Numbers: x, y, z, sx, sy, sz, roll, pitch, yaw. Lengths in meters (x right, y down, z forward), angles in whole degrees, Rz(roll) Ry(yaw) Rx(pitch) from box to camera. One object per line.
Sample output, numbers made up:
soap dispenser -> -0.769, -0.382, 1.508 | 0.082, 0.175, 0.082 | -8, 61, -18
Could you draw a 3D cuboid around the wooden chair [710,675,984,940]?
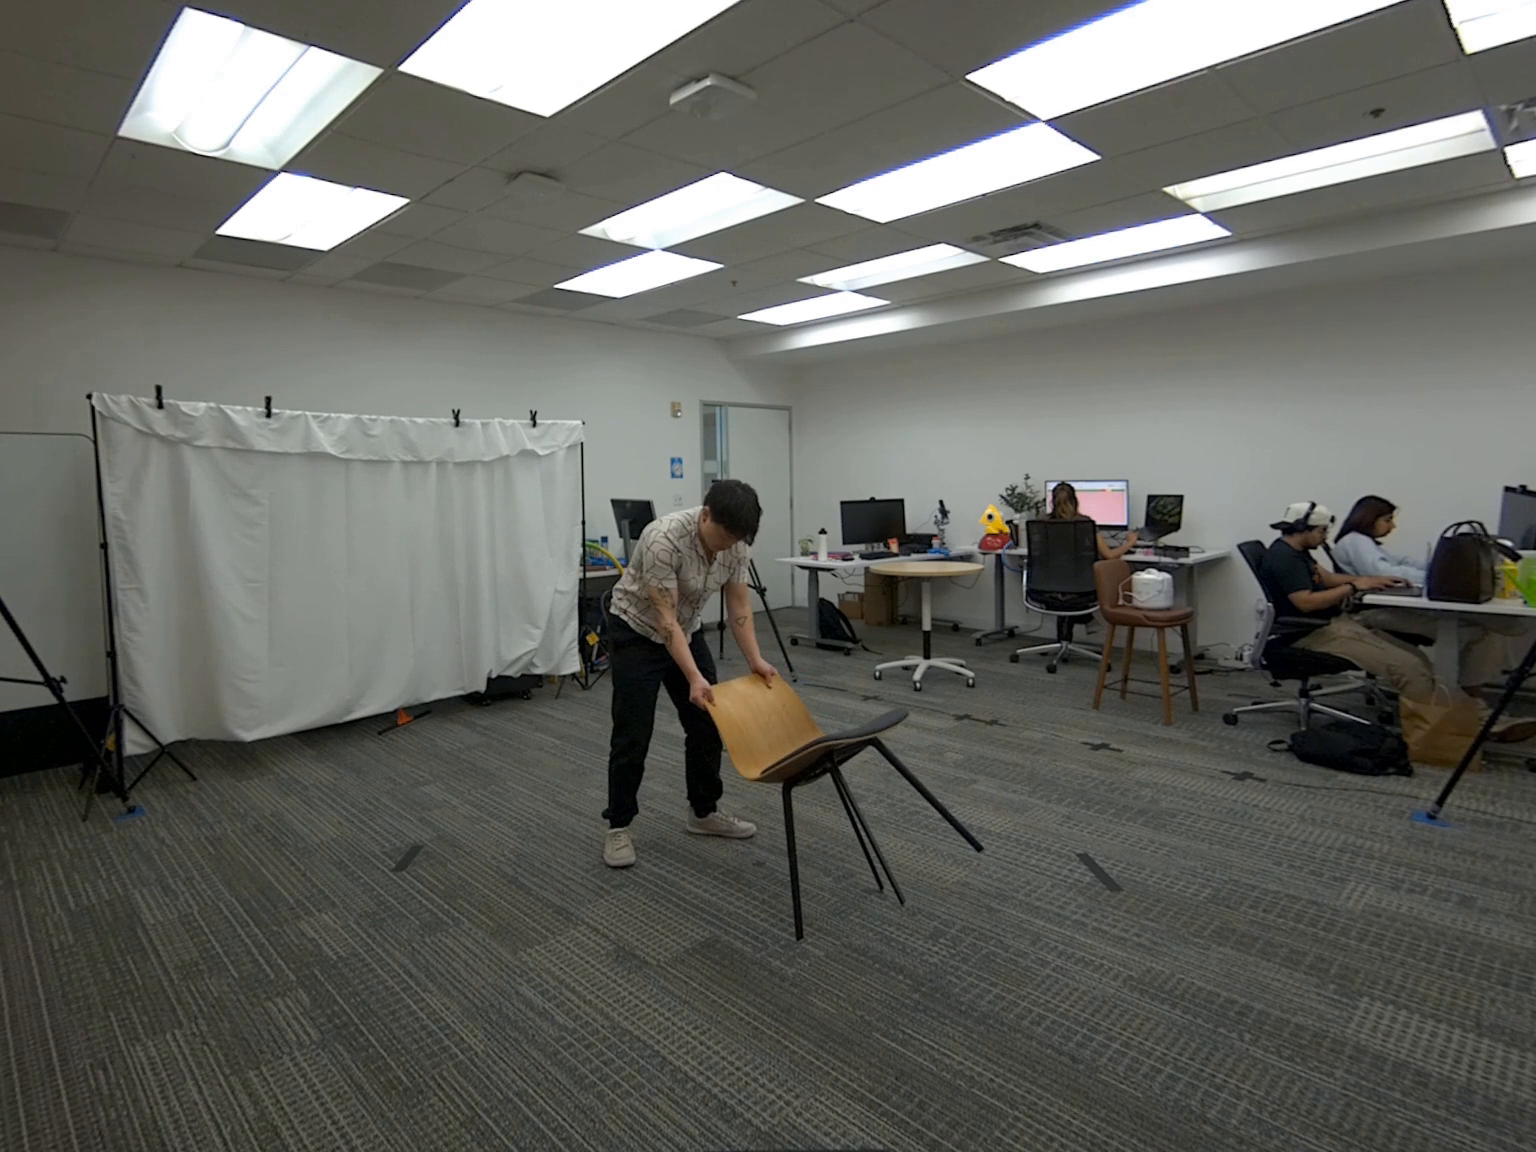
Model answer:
wooden chair -> 0.199, 0.597, 2.735 | 0.465, 0.901, 0.523 | -5, -31, -46
